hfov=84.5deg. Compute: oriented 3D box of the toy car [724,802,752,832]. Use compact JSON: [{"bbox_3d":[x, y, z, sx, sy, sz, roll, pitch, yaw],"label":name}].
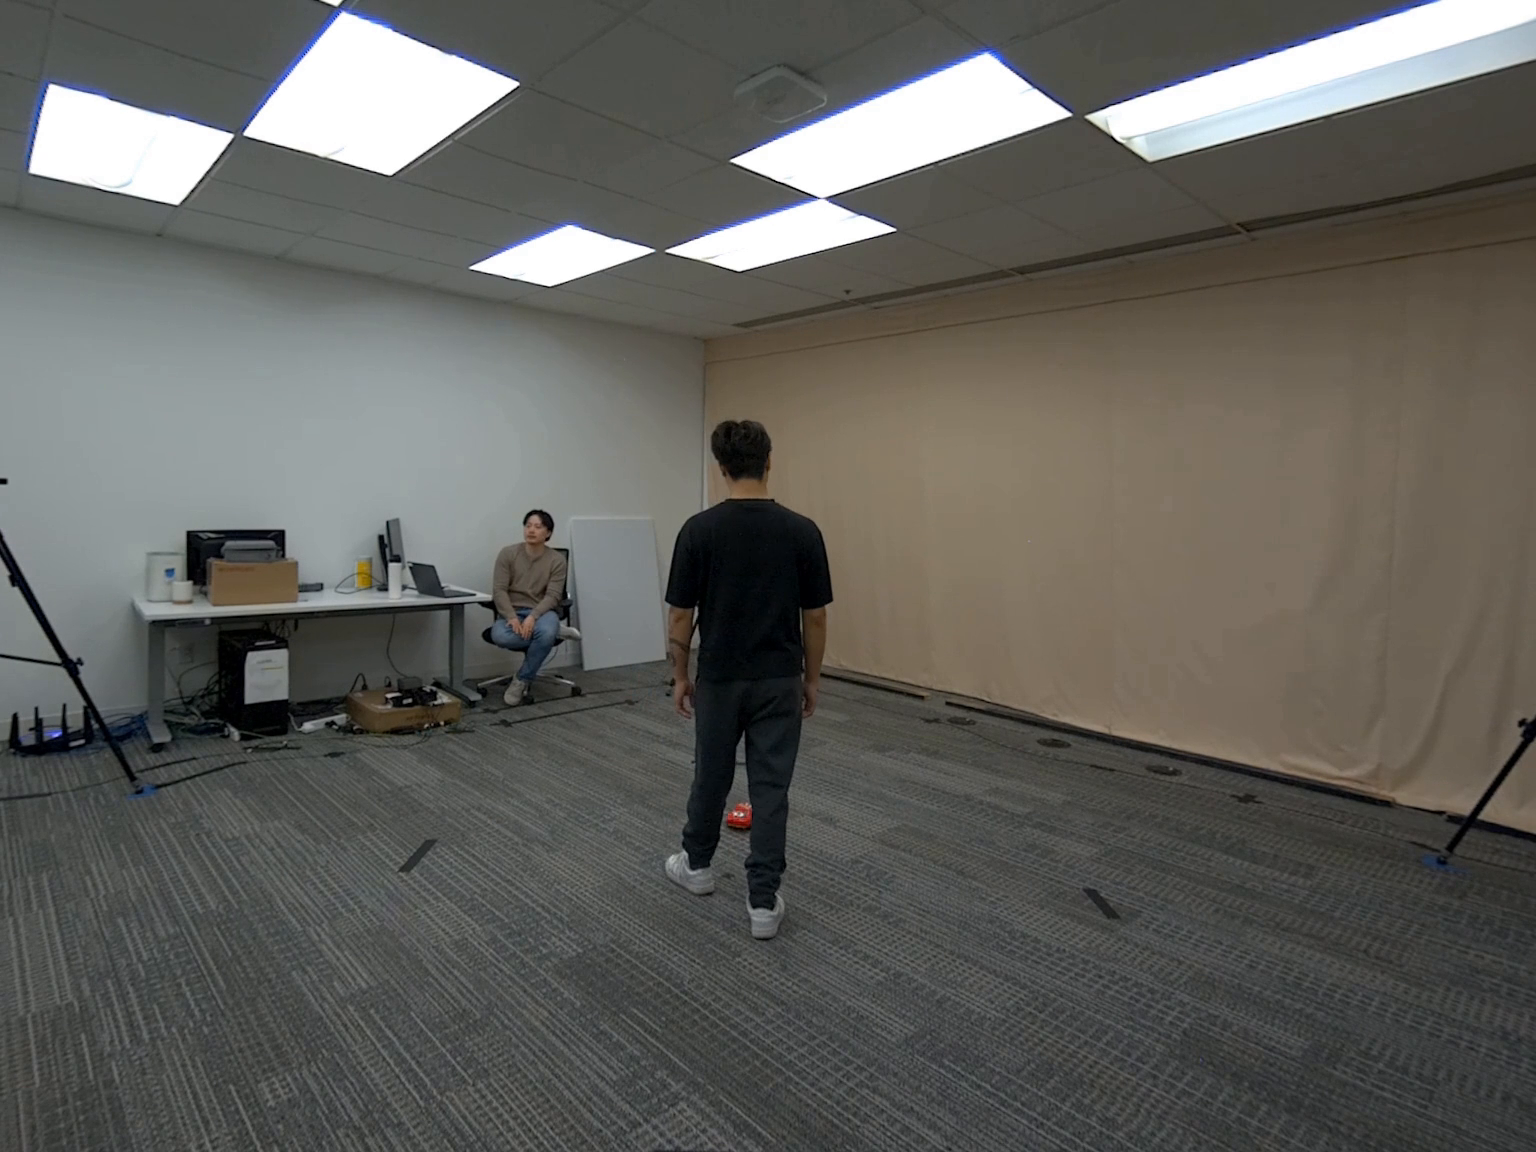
[{"bbox_3d":[-0.114,1.032,3.622,0.132,0.083,0.250,2,-6,15],"label":"toy car"}]
